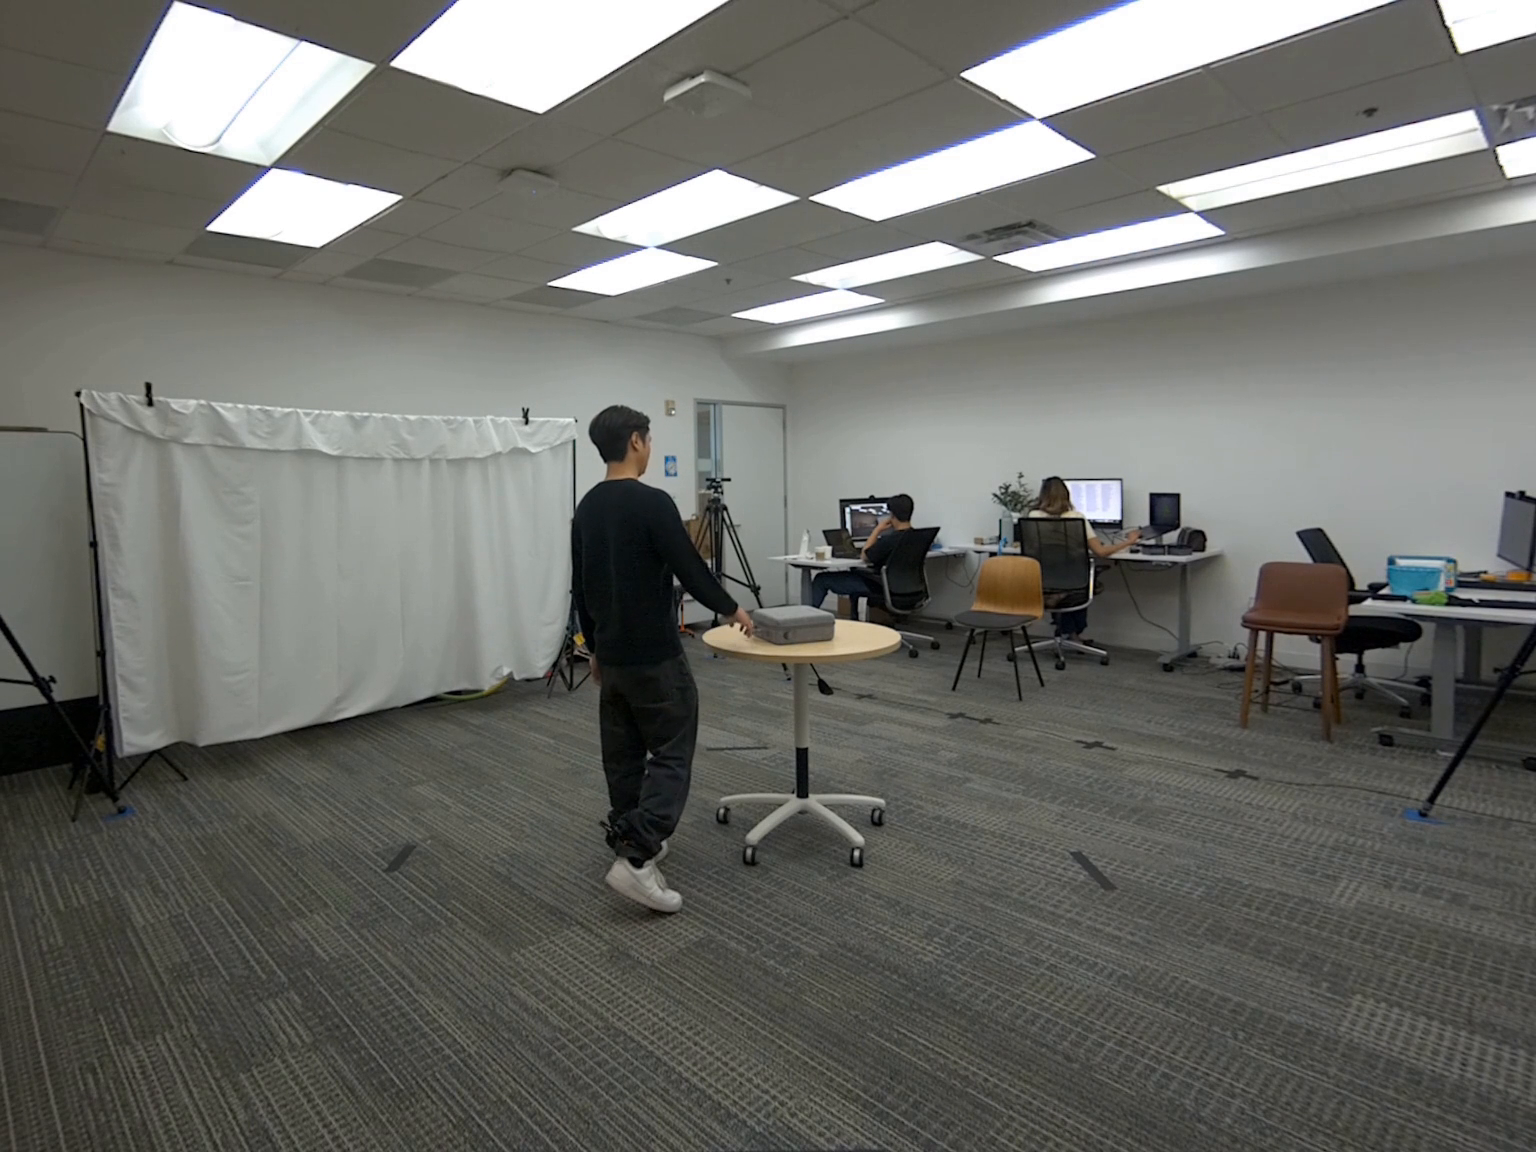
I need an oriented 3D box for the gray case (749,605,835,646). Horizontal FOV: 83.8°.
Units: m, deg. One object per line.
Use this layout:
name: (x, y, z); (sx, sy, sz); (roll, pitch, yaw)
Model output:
gray case: (0.090, 0.183, 3.268); (0.256, 0.104, 0.263); (-4, 8, -21)
